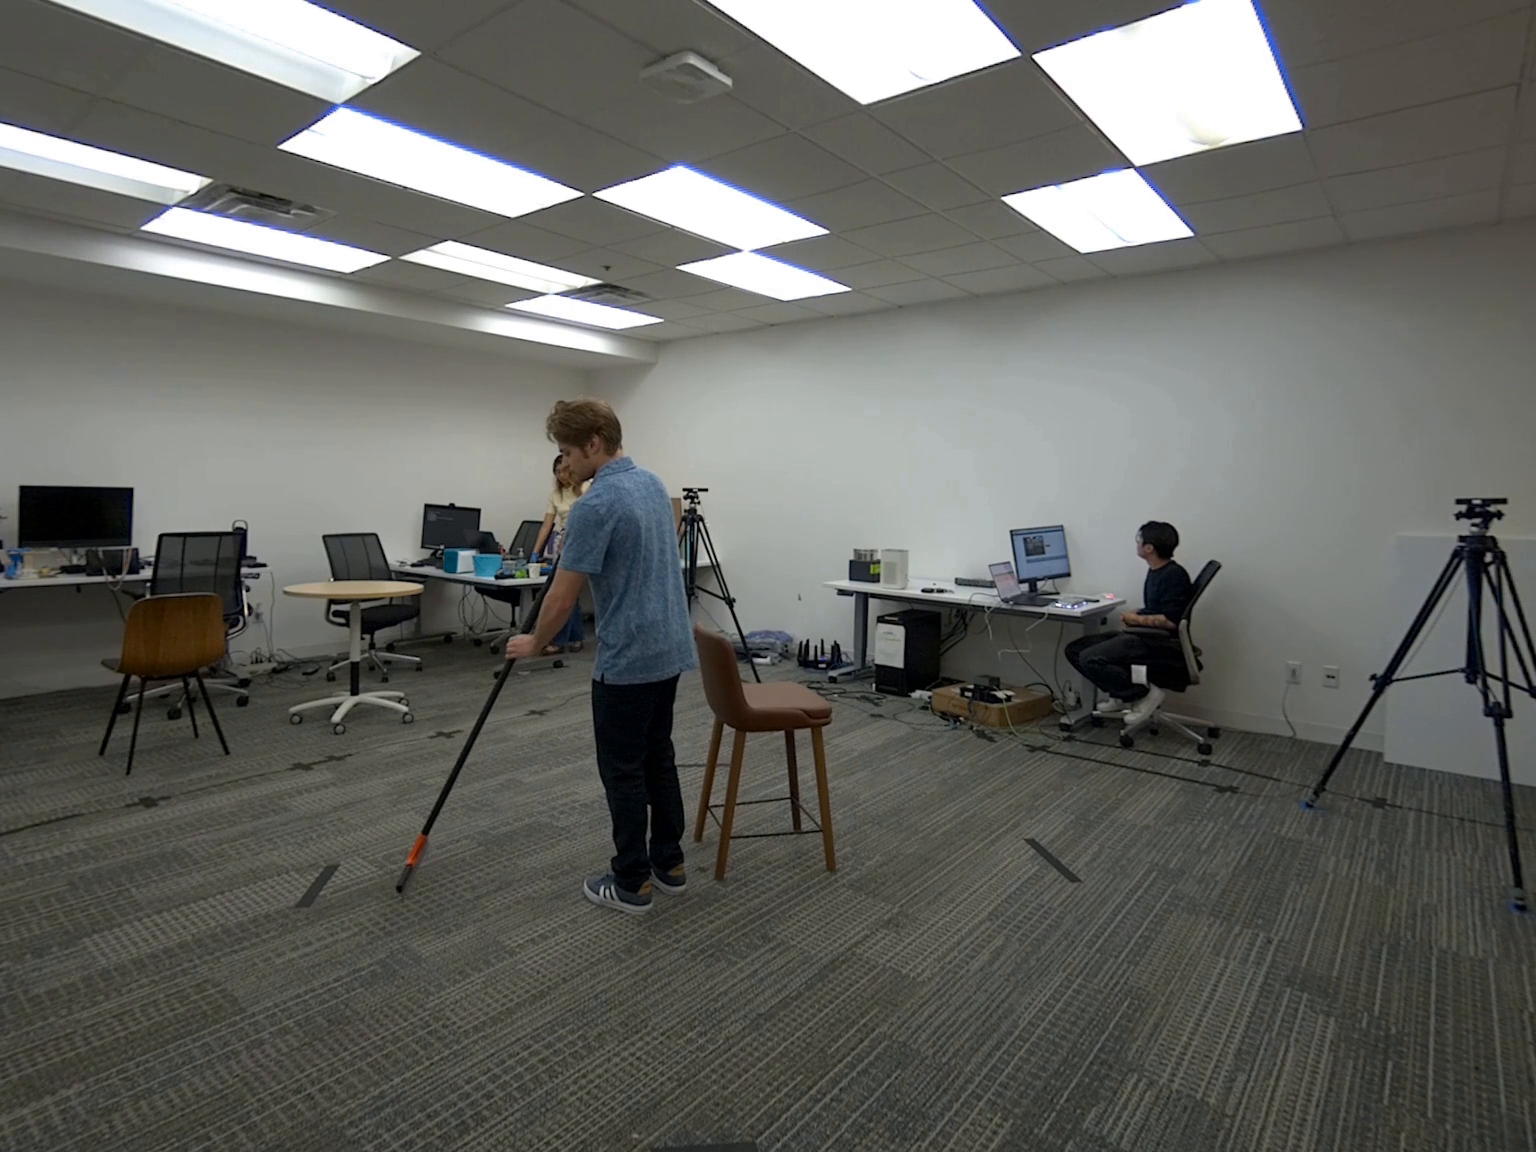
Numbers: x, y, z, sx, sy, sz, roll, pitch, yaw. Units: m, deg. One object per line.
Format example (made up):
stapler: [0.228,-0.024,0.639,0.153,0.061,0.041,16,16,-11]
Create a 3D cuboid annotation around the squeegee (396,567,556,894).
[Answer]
squeegee: [-0.912,0.311,2.914,0.052,1.541,0.443,25,-5,-13]
